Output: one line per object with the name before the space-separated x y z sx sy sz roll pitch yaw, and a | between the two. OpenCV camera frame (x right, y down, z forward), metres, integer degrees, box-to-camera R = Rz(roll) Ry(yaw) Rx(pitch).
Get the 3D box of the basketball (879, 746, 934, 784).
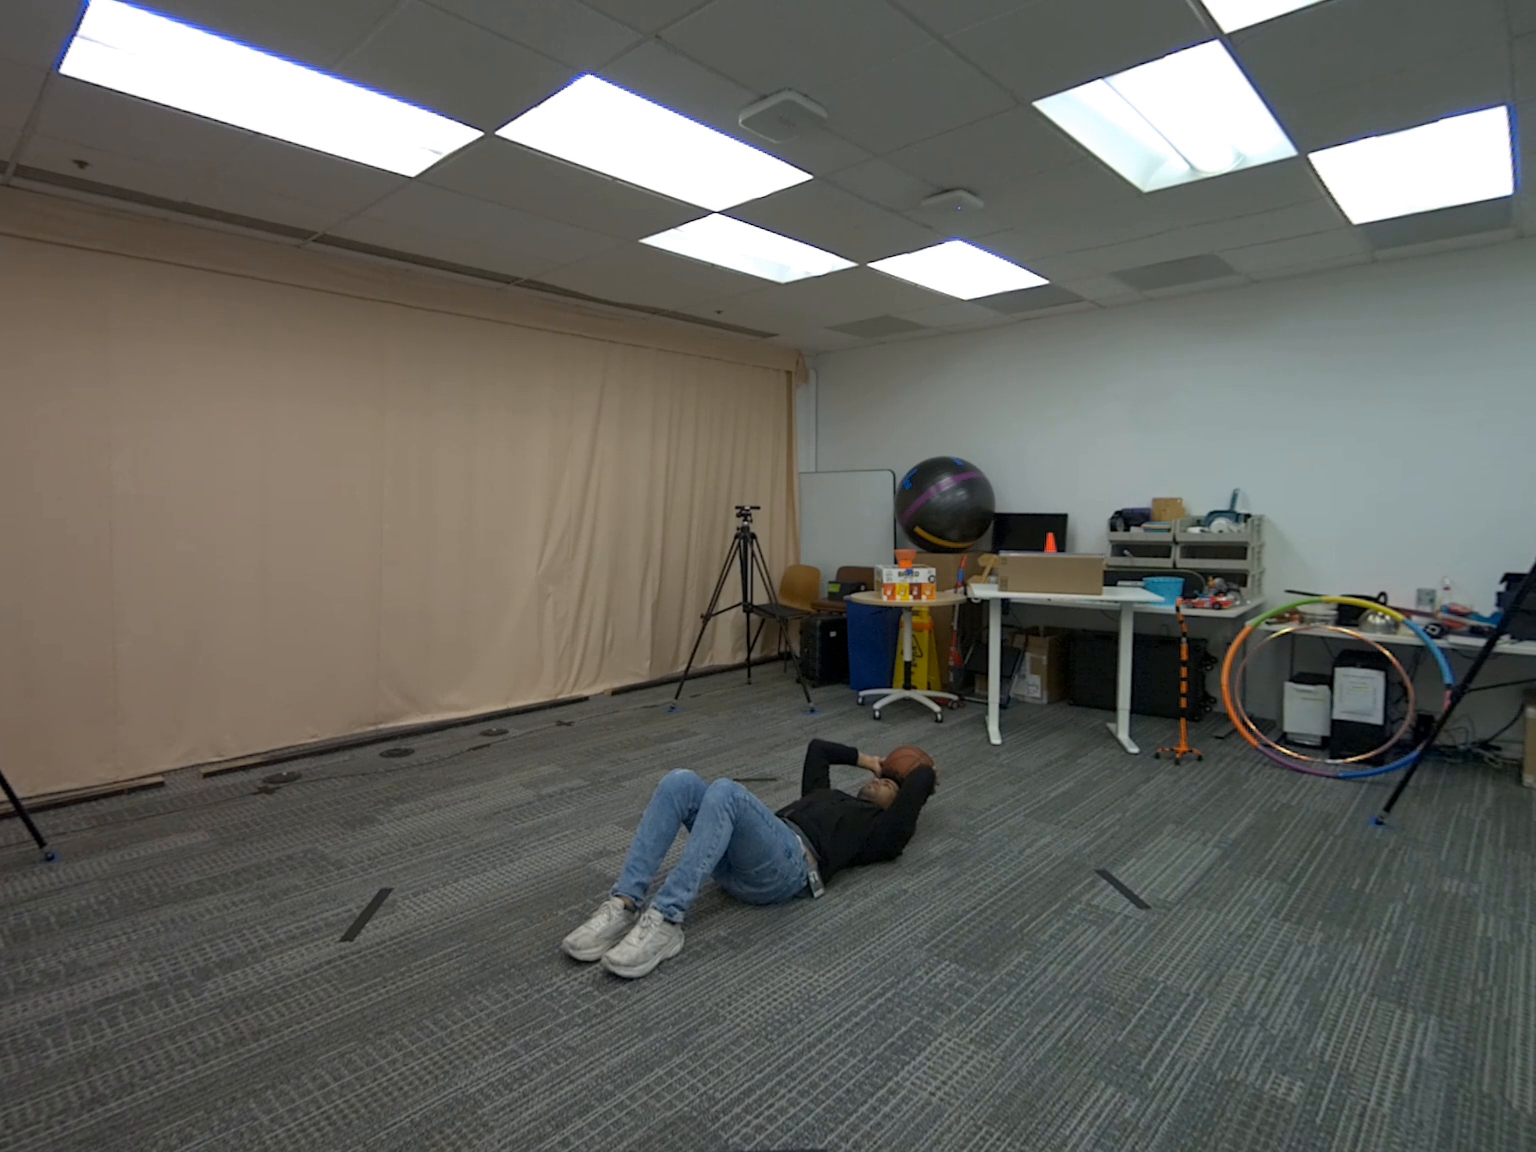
basketball | 0.622 0.865 3.732 0.236 0.235 0.237 0 4 -2
